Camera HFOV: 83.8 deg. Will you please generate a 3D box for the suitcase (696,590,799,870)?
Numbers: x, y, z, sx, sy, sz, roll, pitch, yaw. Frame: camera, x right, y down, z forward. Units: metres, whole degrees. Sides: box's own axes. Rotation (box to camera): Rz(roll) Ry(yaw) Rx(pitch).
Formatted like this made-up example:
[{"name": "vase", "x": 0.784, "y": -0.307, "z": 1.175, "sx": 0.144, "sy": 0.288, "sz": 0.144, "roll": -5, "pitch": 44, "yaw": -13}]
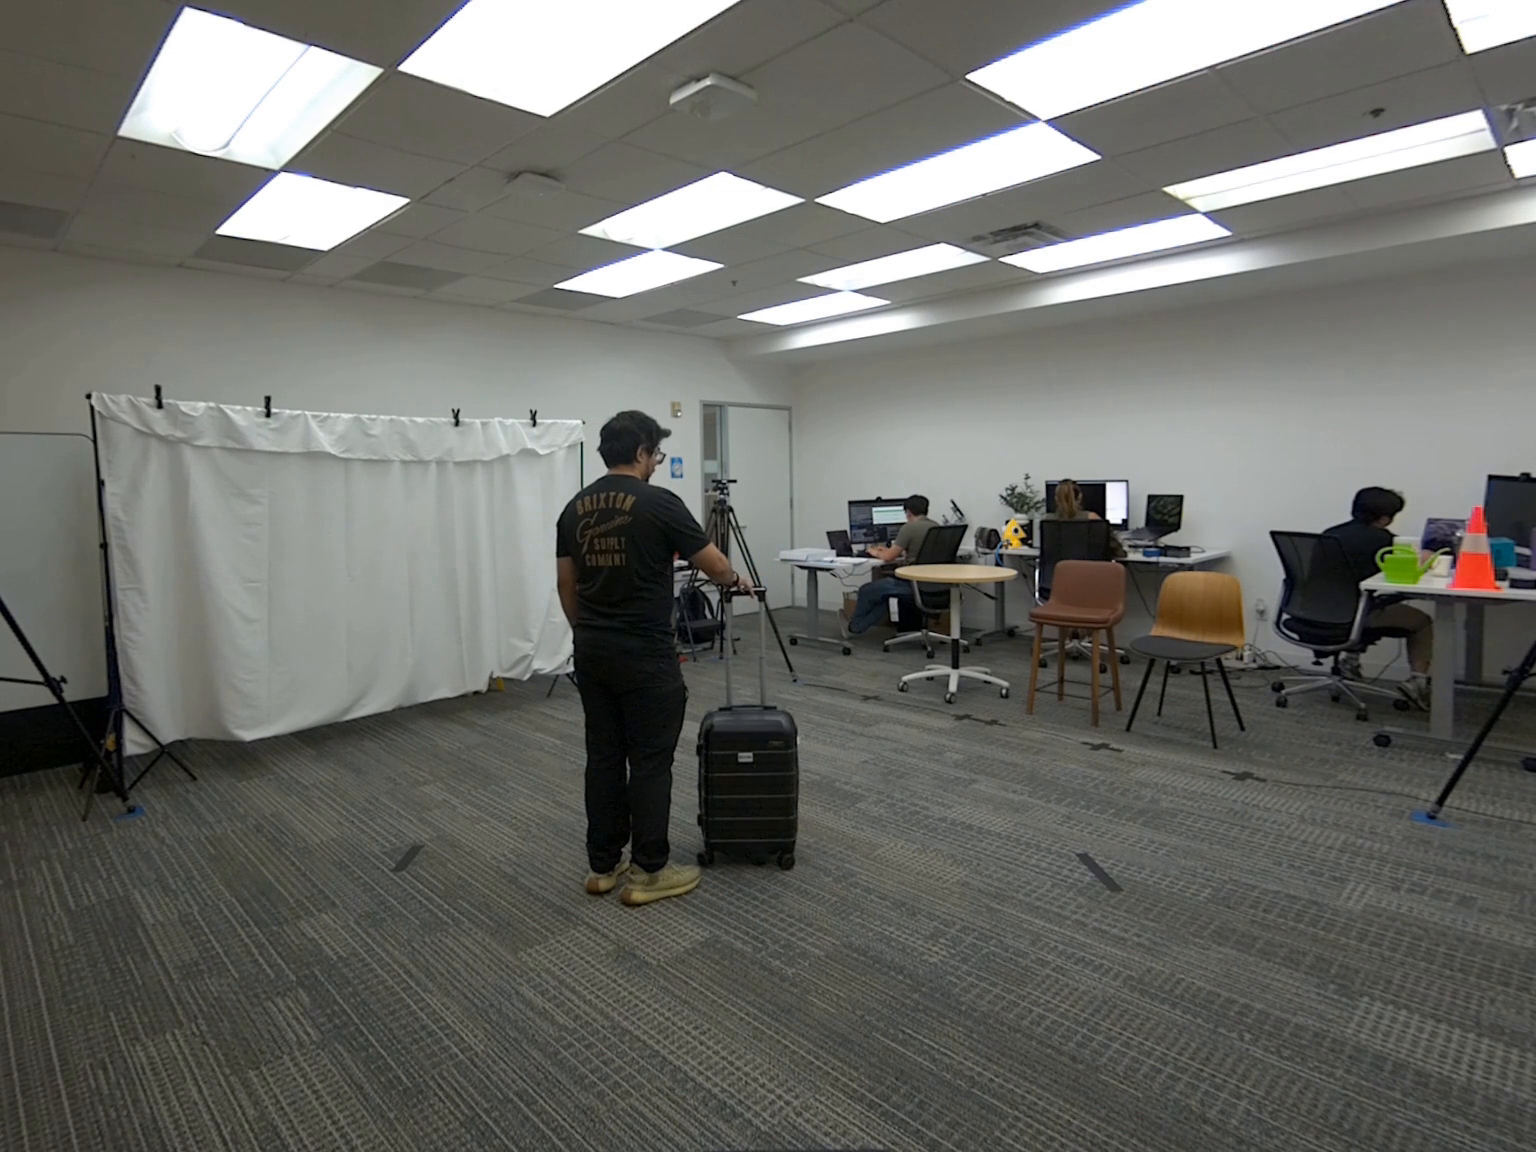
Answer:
[{"name": "suitcase", "x": -0.069, "y": 0.568, "z": 3.160, "sx": 0.384, "sy": 0.974, "sz": 0.258, "roll": -1, "pitch": 5, "yaw": 0}]
